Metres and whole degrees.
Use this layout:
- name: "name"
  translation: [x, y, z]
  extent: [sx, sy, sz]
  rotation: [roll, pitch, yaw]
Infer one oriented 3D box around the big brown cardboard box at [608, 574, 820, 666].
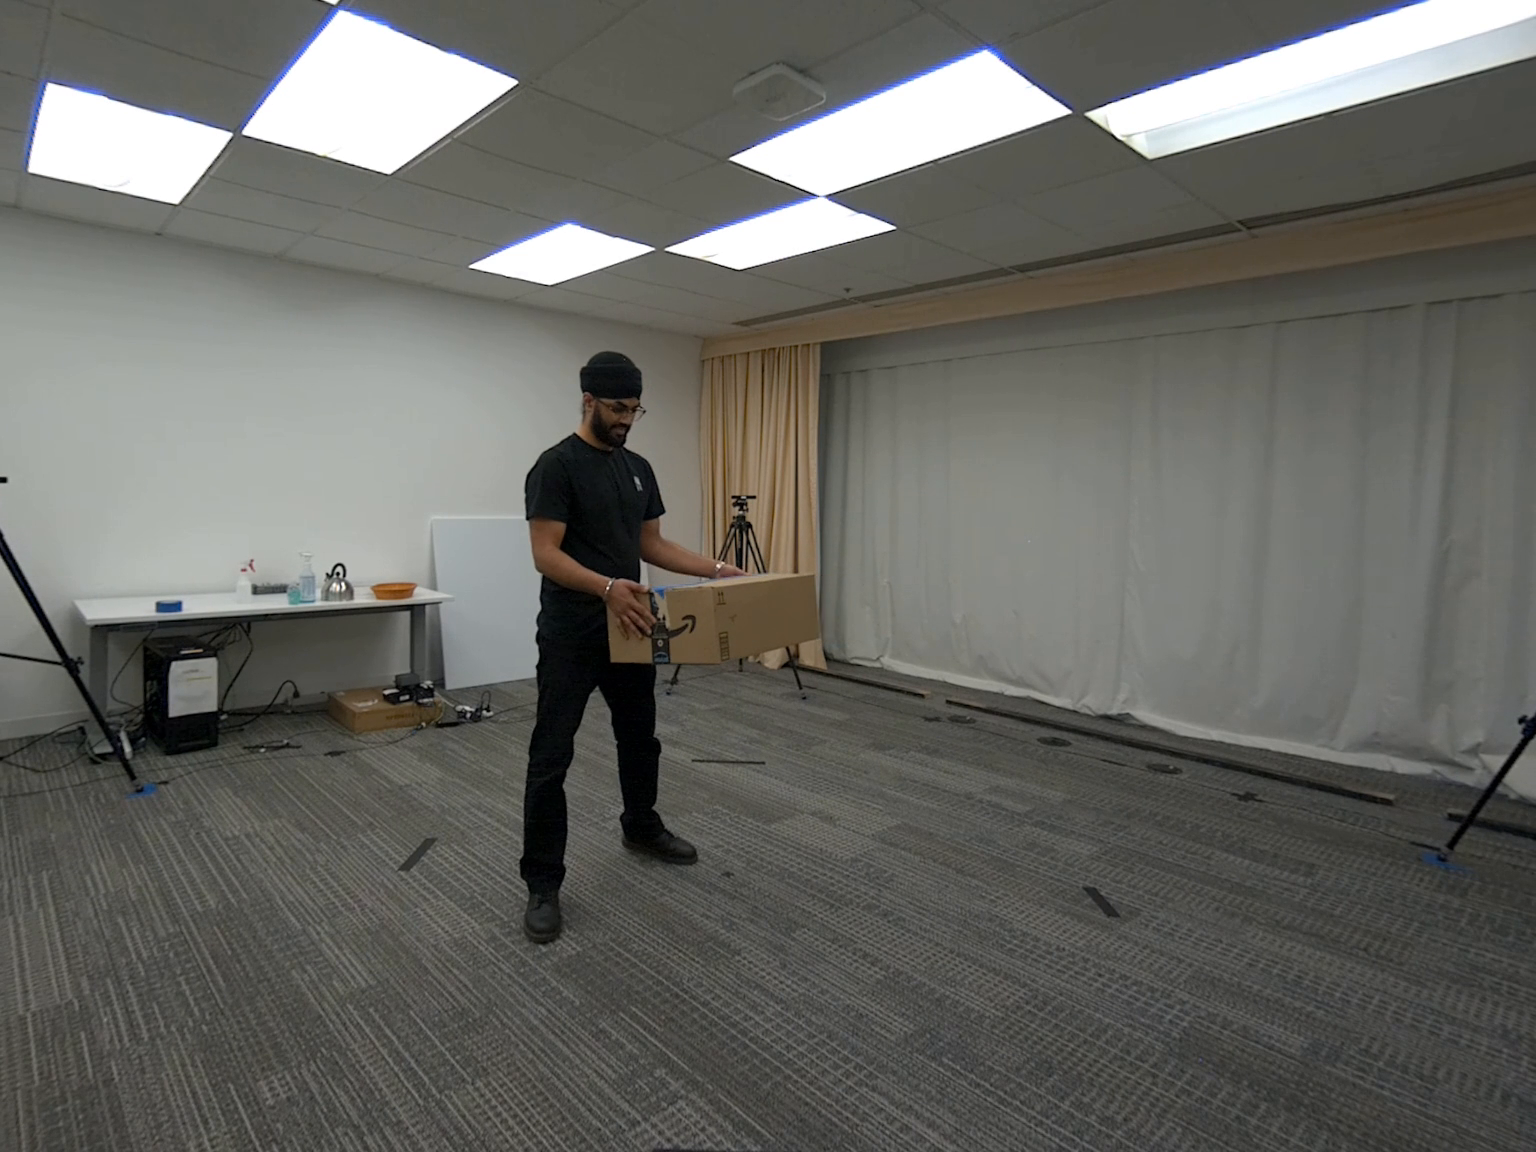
- name: "big brown cardboard box"
  translation: [-0.166, 0.125, 2.661]
  extent: [0.426, 0.233, 0.577]
  rotation: [-3, 2, 35]
